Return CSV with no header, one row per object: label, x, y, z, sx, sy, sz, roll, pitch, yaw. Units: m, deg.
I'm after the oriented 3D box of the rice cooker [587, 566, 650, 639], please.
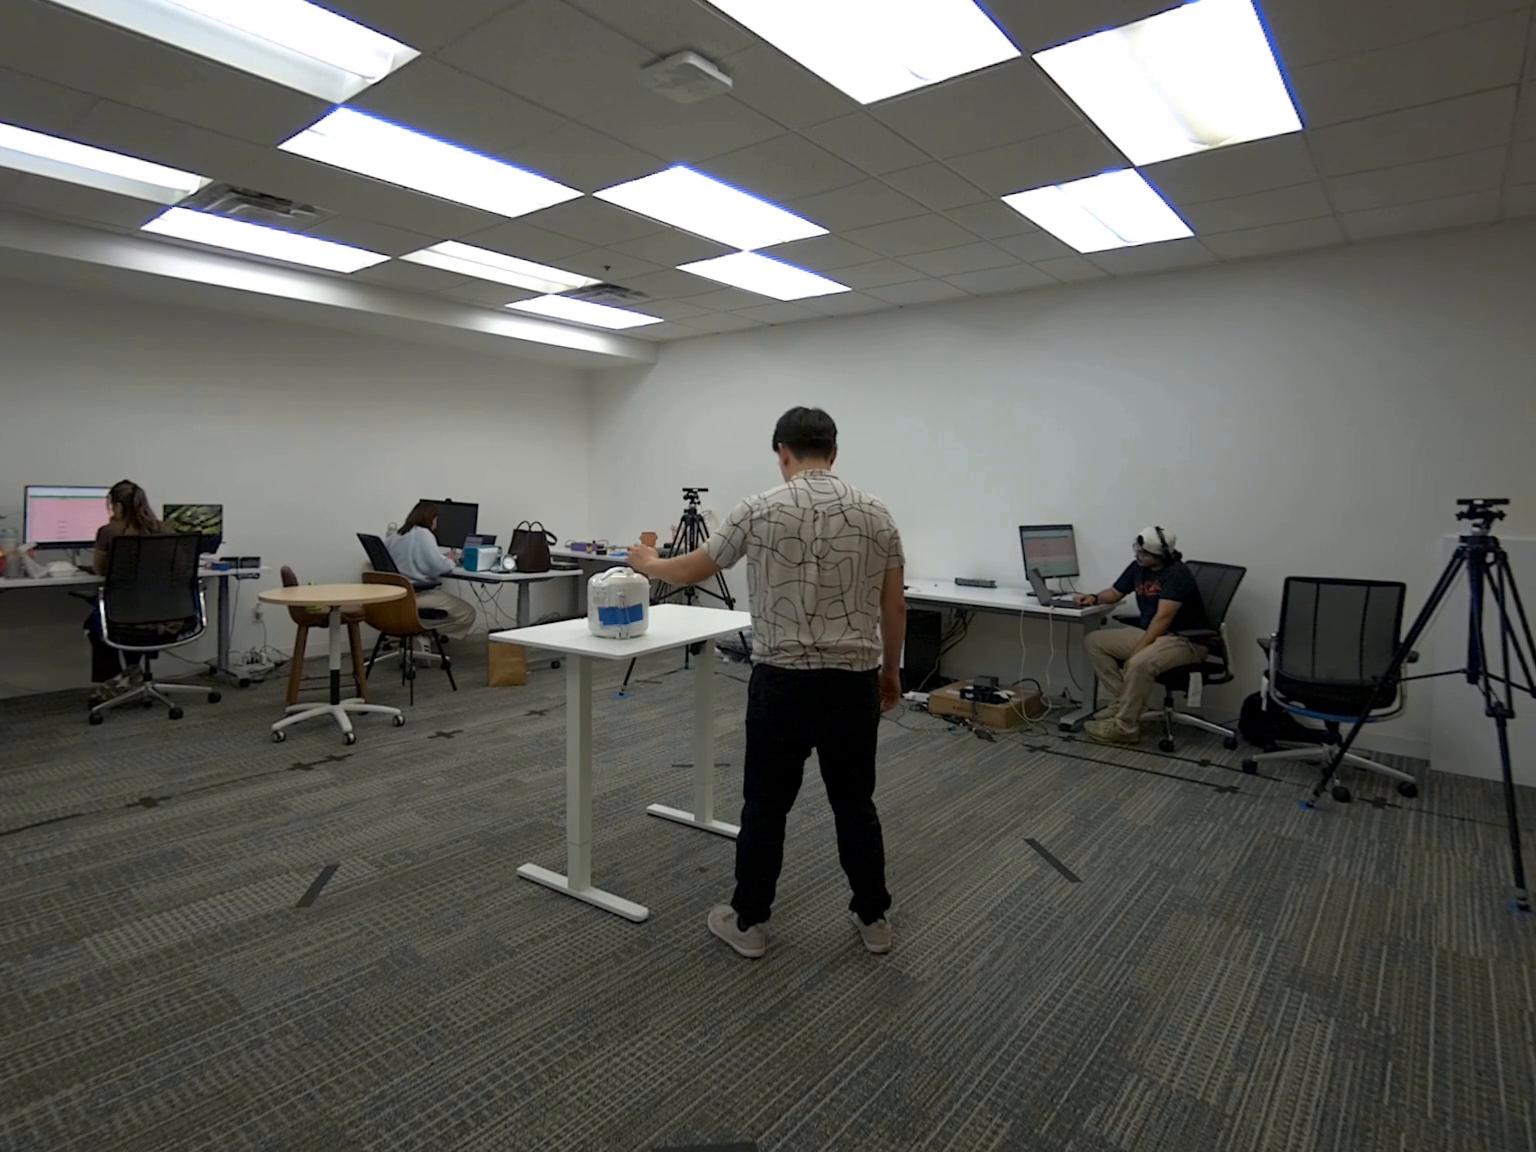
rice cooker,-0.528,0.084,2.923,0.224,0.232,0.215,4,5,28
